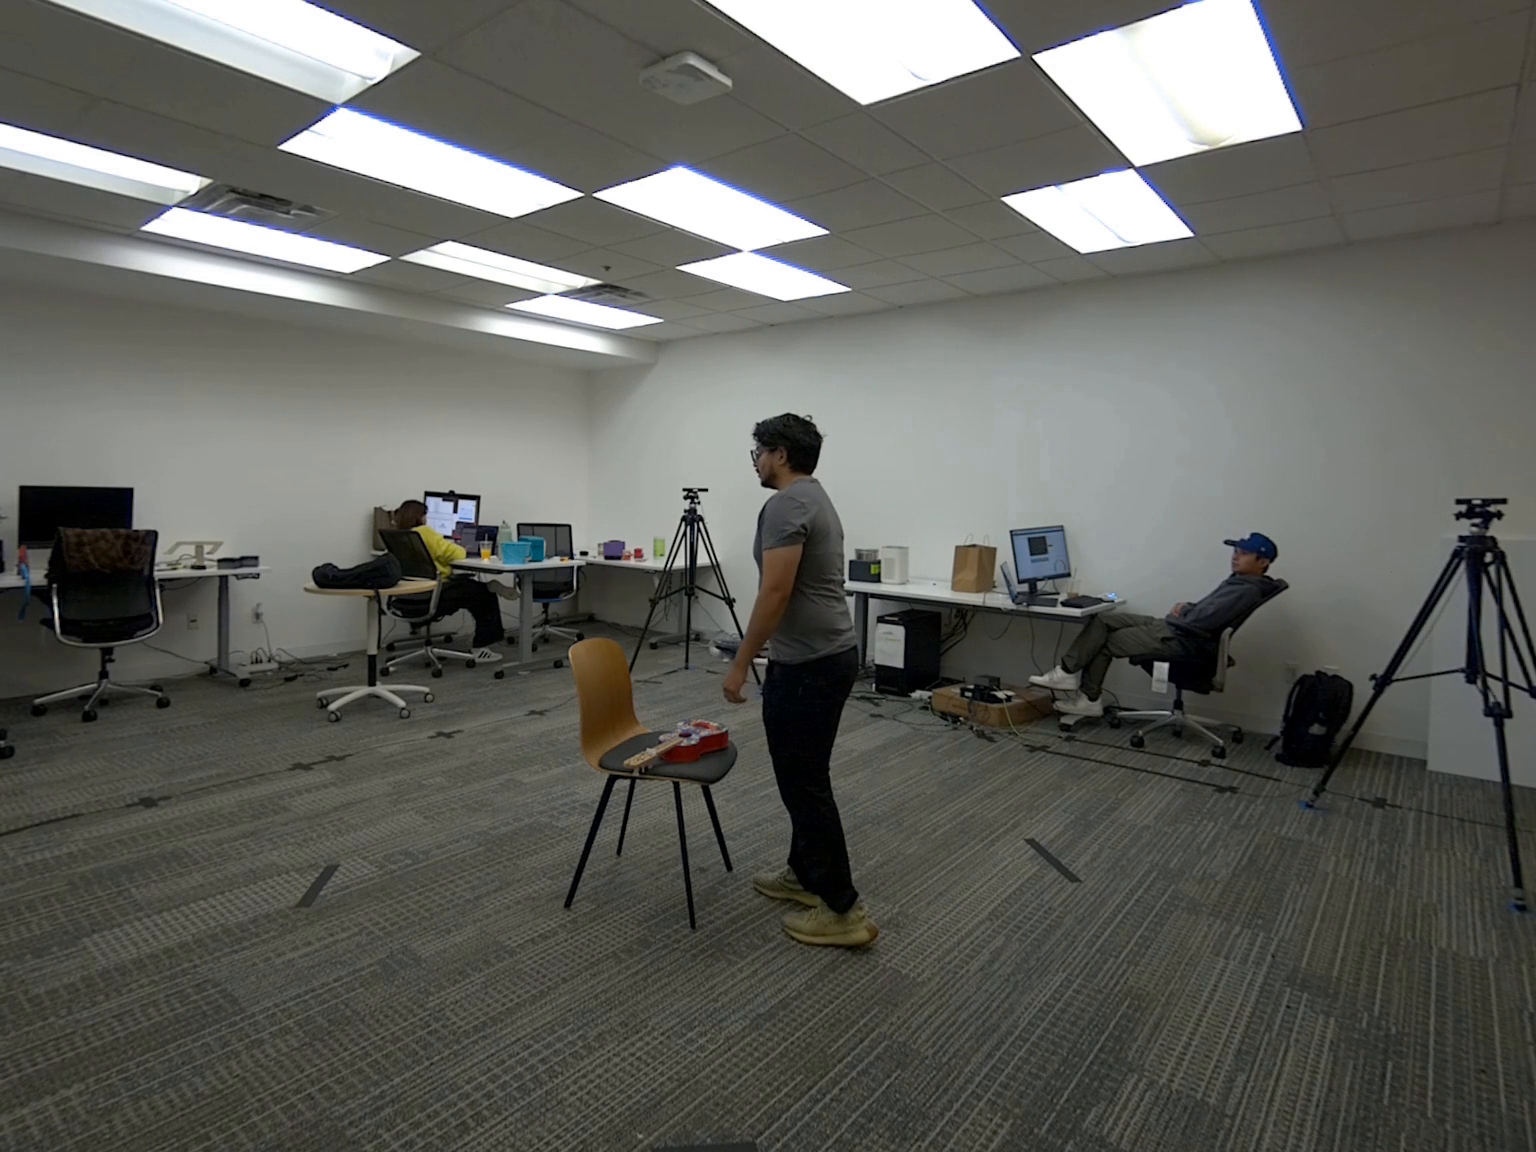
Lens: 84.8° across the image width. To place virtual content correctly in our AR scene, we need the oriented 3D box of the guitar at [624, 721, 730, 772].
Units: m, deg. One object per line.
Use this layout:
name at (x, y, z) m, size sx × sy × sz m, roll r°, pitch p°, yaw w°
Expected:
guitar at (-0.353, 0.580, 2.876) m, size 0.199 × 0.070 × 0.484 m, roll 6°, pitch 10°, yaw 38°
